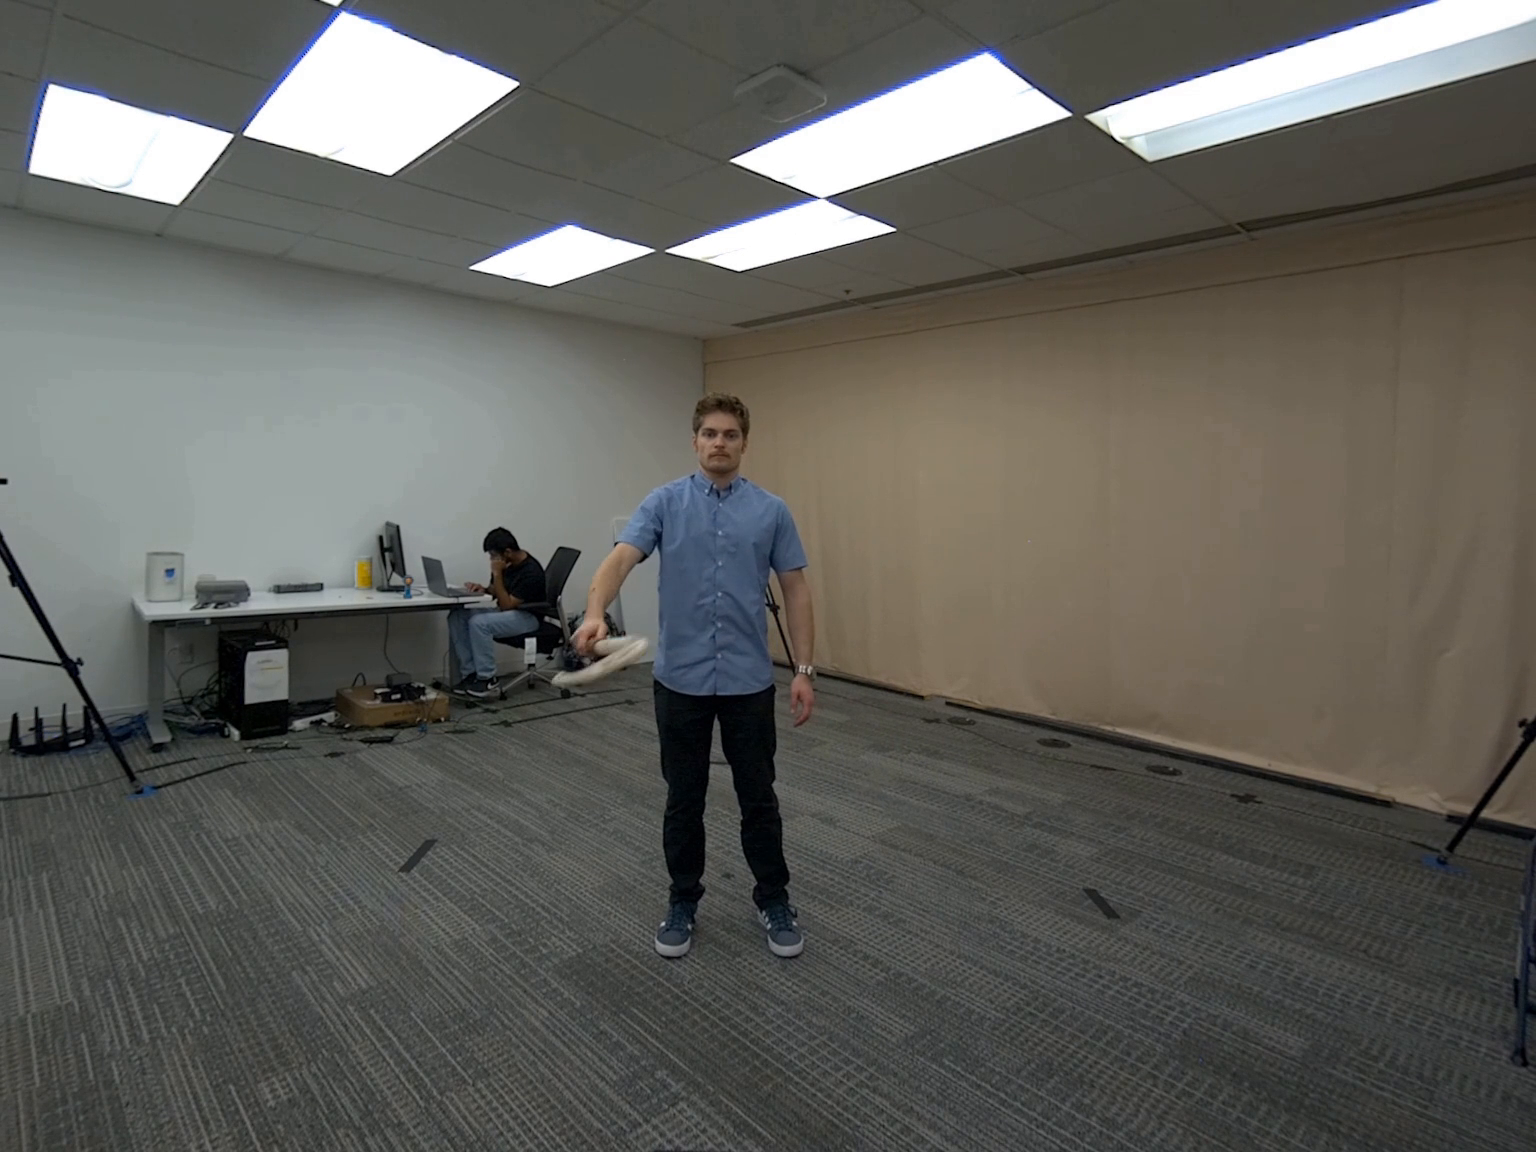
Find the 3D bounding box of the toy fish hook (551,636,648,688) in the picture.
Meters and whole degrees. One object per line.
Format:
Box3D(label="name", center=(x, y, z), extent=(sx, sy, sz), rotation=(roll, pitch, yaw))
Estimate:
Box3D(label="toy fish hook", center=(-0.425, 0.184, 2.040), extent=(0.222, 0.048, 0.513), rotation=(-23, 7, -21))
